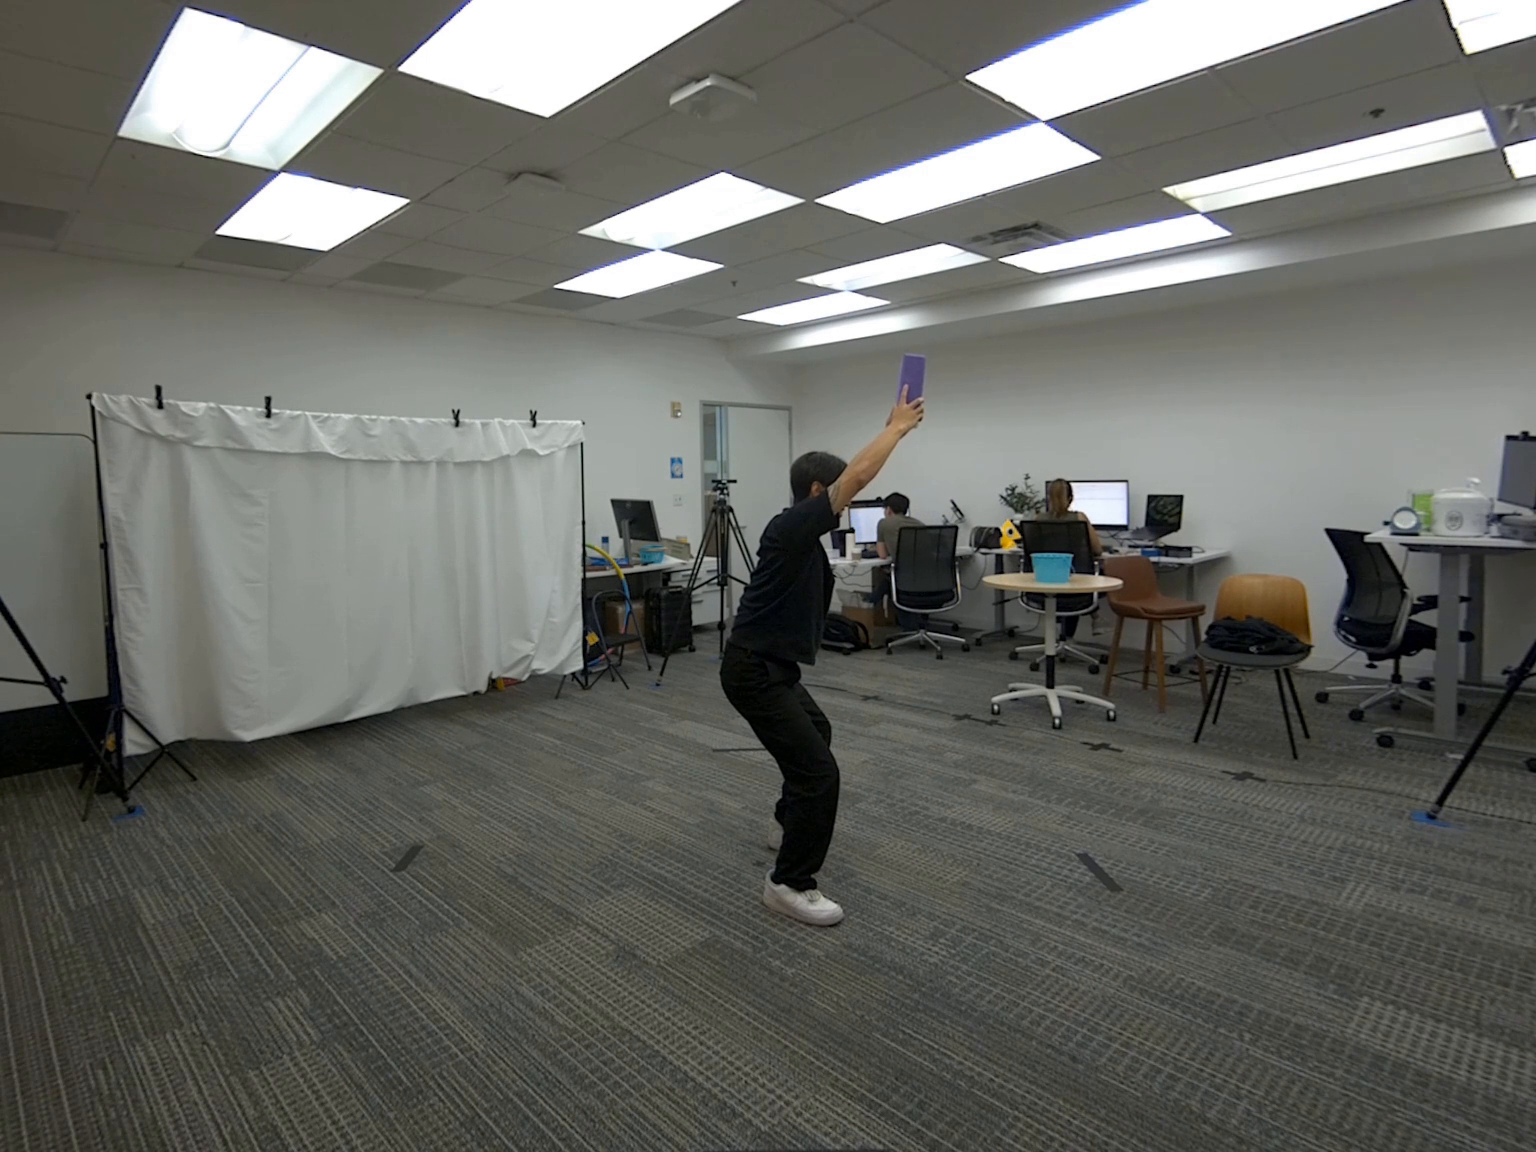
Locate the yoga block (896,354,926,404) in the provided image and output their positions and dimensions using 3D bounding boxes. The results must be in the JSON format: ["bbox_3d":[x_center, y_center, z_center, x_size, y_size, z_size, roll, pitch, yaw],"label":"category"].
[{"bbox_3d":[0.499,-0.640,2.960,0.077,0.230,0.148,5,-4,4],"label":"yoga block"}]
